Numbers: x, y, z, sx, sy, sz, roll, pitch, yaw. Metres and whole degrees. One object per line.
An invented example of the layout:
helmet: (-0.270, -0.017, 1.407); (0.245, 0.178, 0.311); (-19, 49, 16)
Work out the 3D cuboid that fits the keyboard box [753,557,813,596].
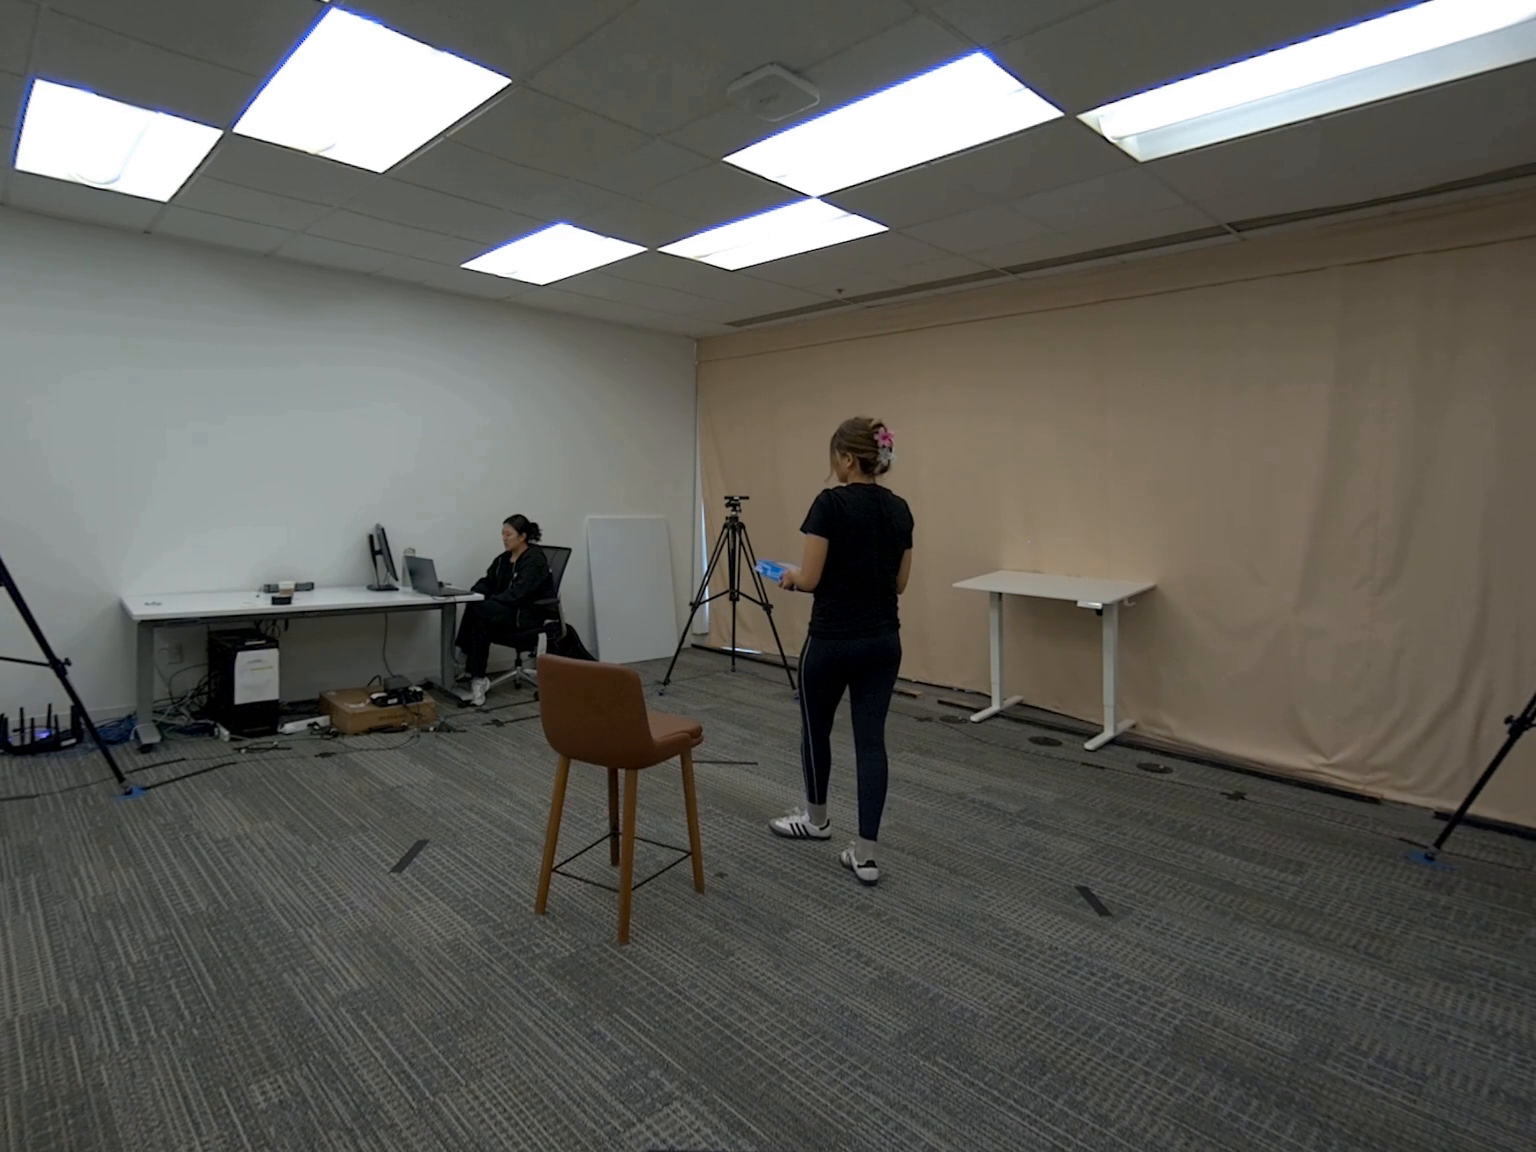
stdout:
keyboard box: (0.101, 0.004, 3.585); (0.172, 0.059, 0.447); (11, 7, -24)
